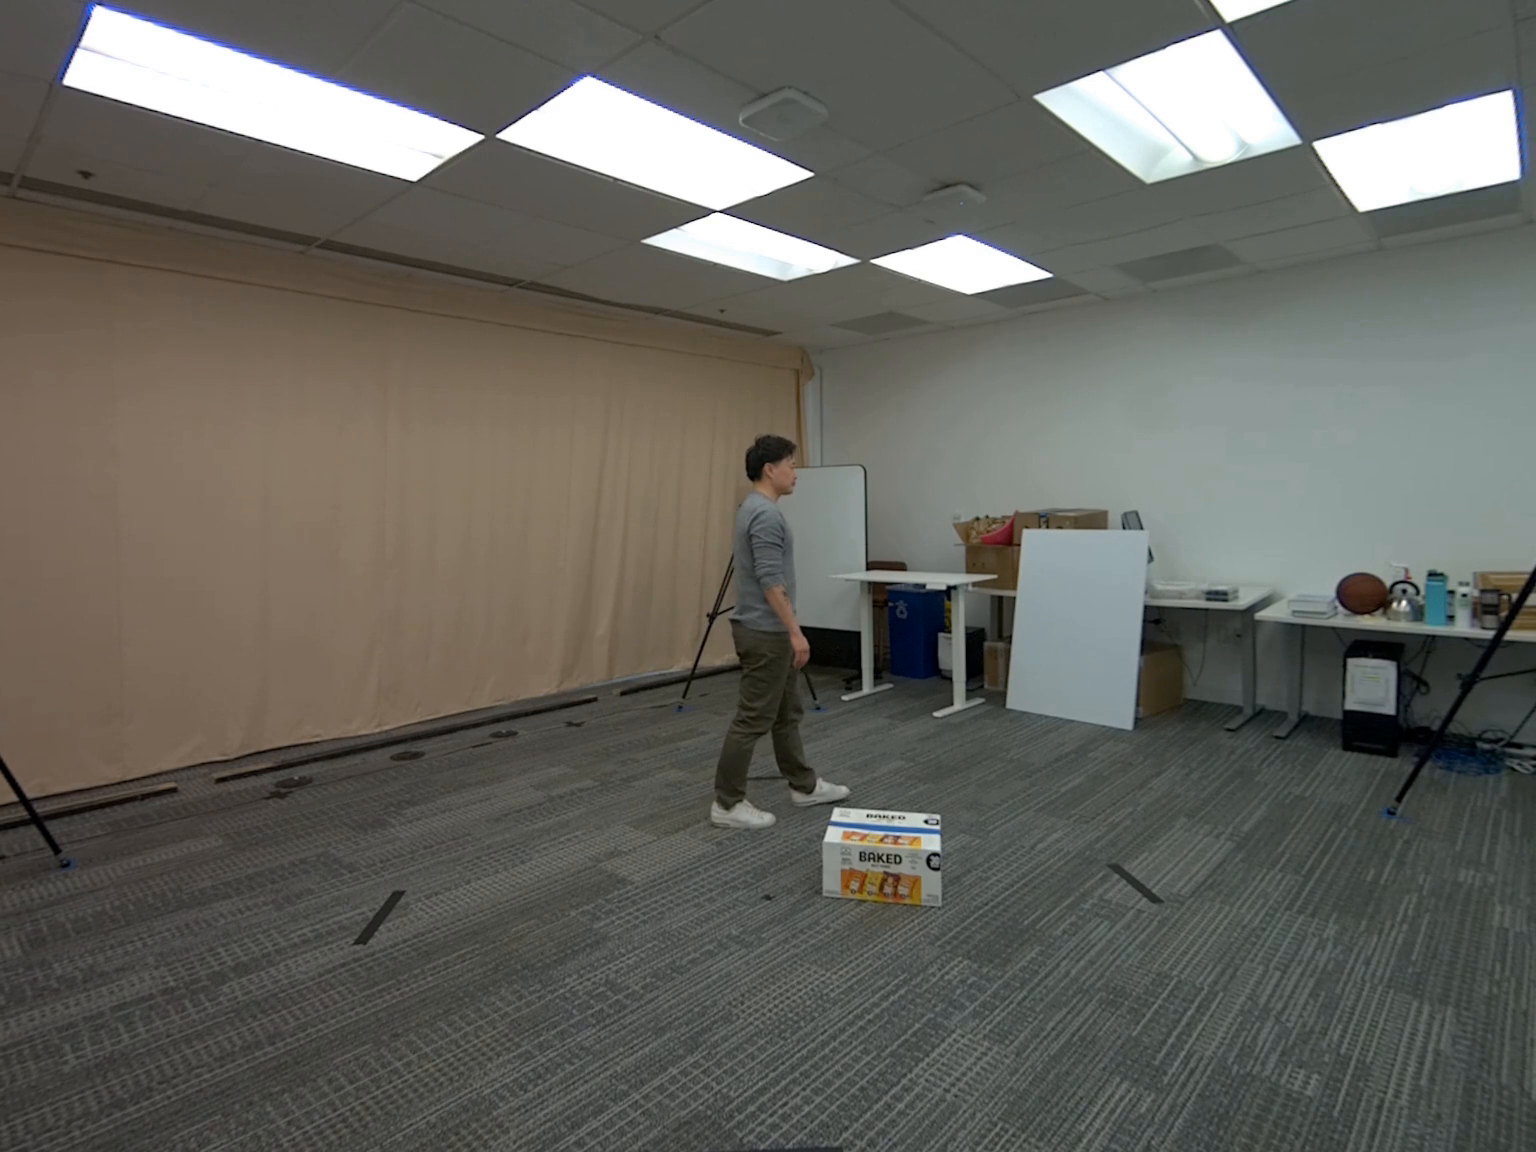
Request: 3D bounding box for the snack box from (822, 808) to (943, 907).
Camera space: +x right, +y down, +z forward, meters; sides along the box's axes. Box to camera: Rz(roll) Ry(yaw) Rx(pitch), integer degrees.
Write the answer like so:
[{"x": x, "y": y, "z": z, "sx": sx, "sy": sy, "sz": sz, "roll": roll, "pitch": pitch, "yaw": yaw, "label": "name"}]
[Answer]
[{"x": 0.432, "y": 1.024, "z": 3.091, "sx": 0.411, "sy": 0.205, "sz": 0.336, "roll": 0, "pitch": 5, "yaw": 12, "label": "snack box"}]
